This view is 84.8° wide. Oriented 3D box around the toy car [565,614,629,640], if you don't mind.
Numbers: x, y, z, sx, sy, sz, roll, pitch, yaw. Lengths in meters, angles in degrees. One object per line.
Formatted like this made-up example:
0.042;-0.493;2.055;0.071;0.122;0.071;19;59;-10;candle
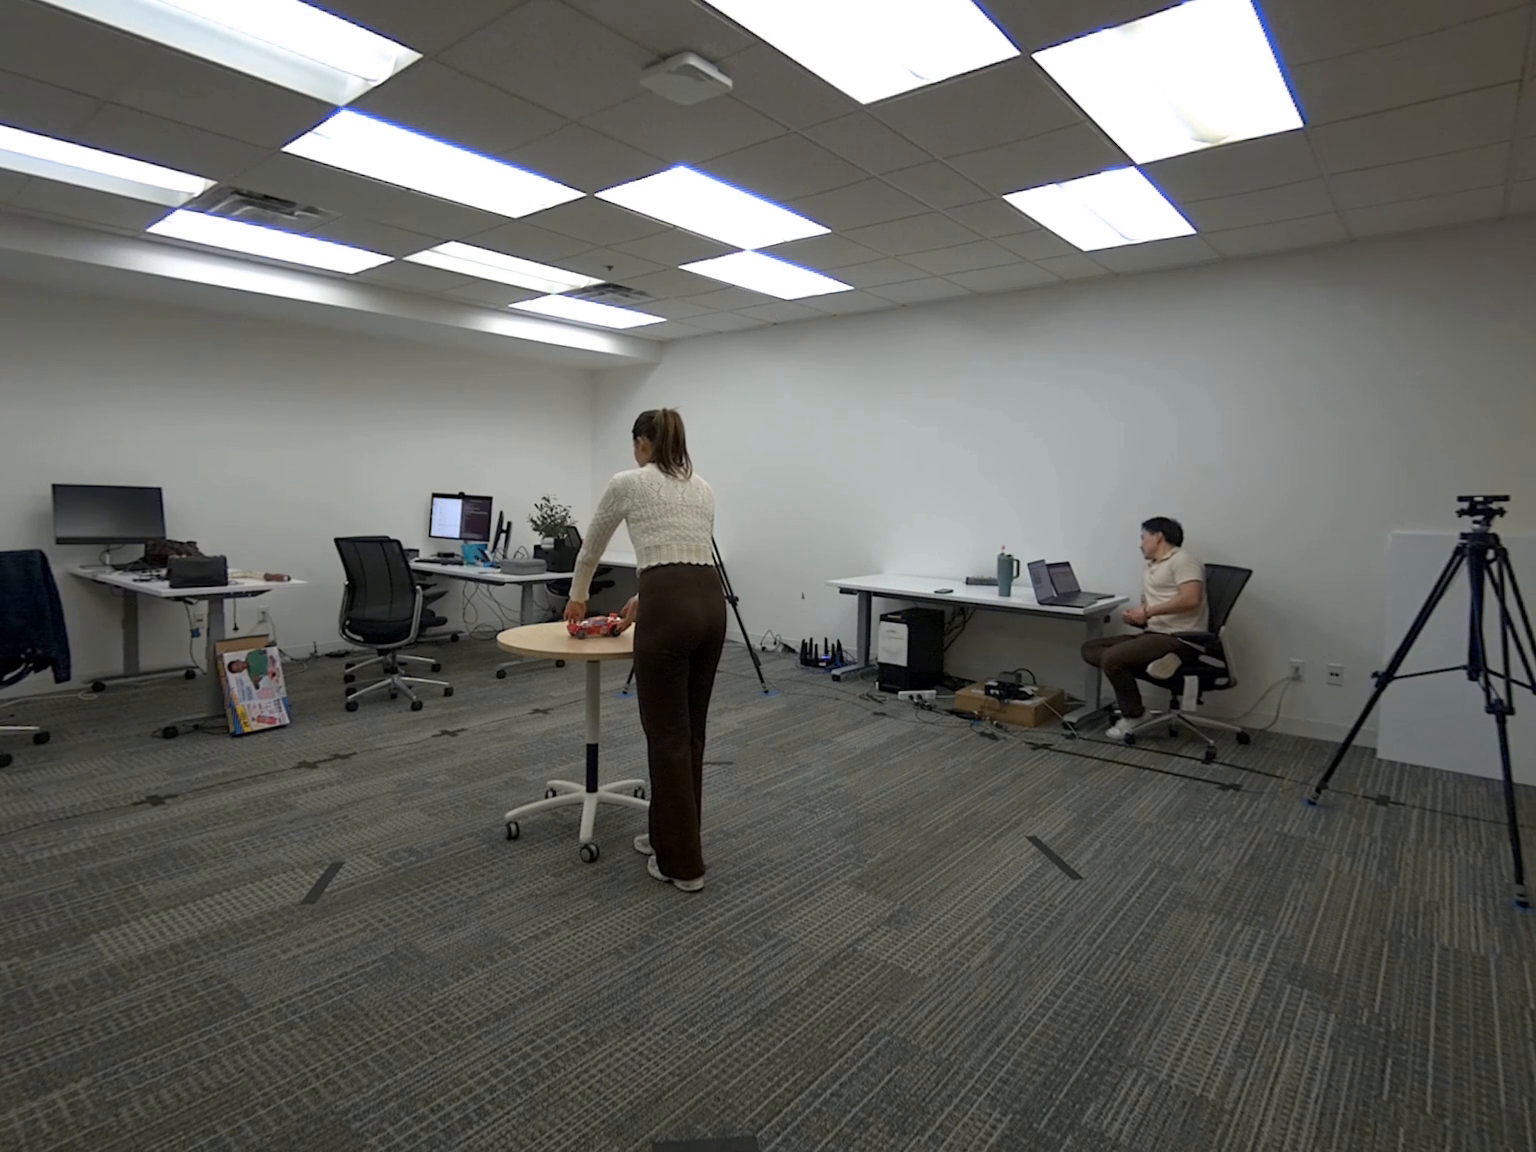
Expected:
-0.702;0.210;3.464;0.249;0.082;0.134;-15;13;-29;toy car
